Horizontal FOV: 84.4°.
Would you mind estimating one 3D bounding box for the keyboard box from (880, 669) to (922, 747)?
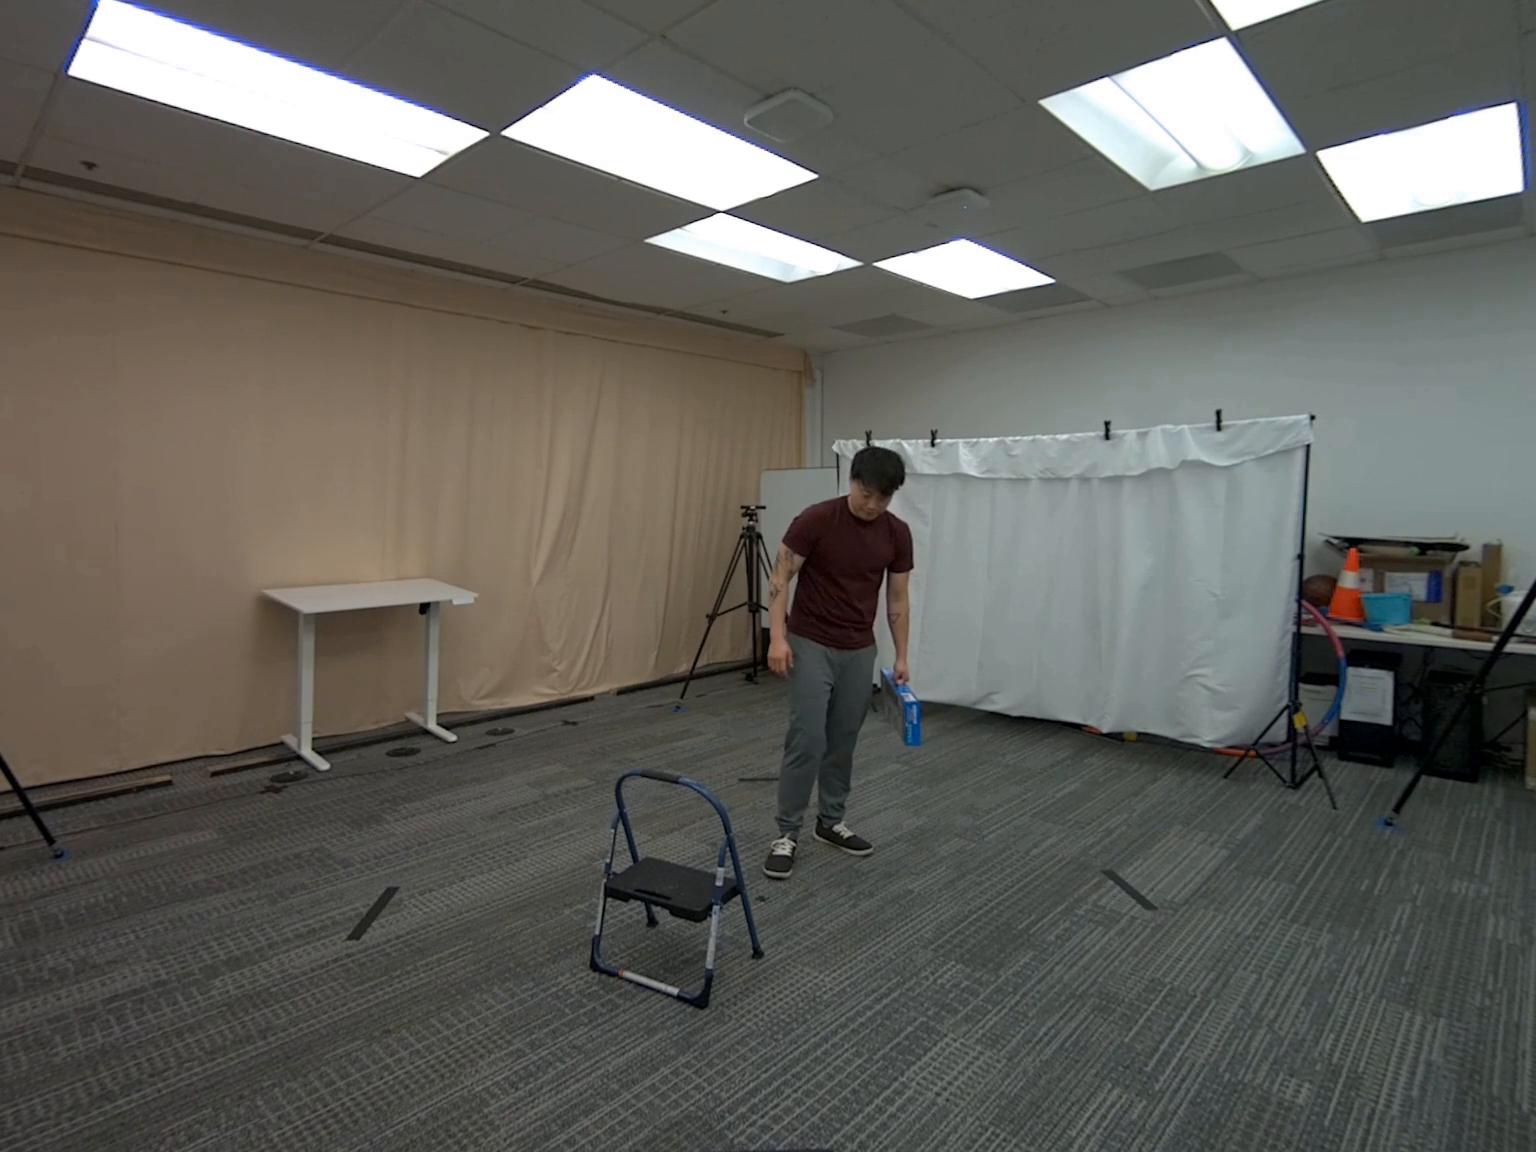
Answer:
[{"bbox_3d":[0.527,0.508,3.347,0.059,0.175,0.440,-4,9,-4],"label":"keyboard box"}]
